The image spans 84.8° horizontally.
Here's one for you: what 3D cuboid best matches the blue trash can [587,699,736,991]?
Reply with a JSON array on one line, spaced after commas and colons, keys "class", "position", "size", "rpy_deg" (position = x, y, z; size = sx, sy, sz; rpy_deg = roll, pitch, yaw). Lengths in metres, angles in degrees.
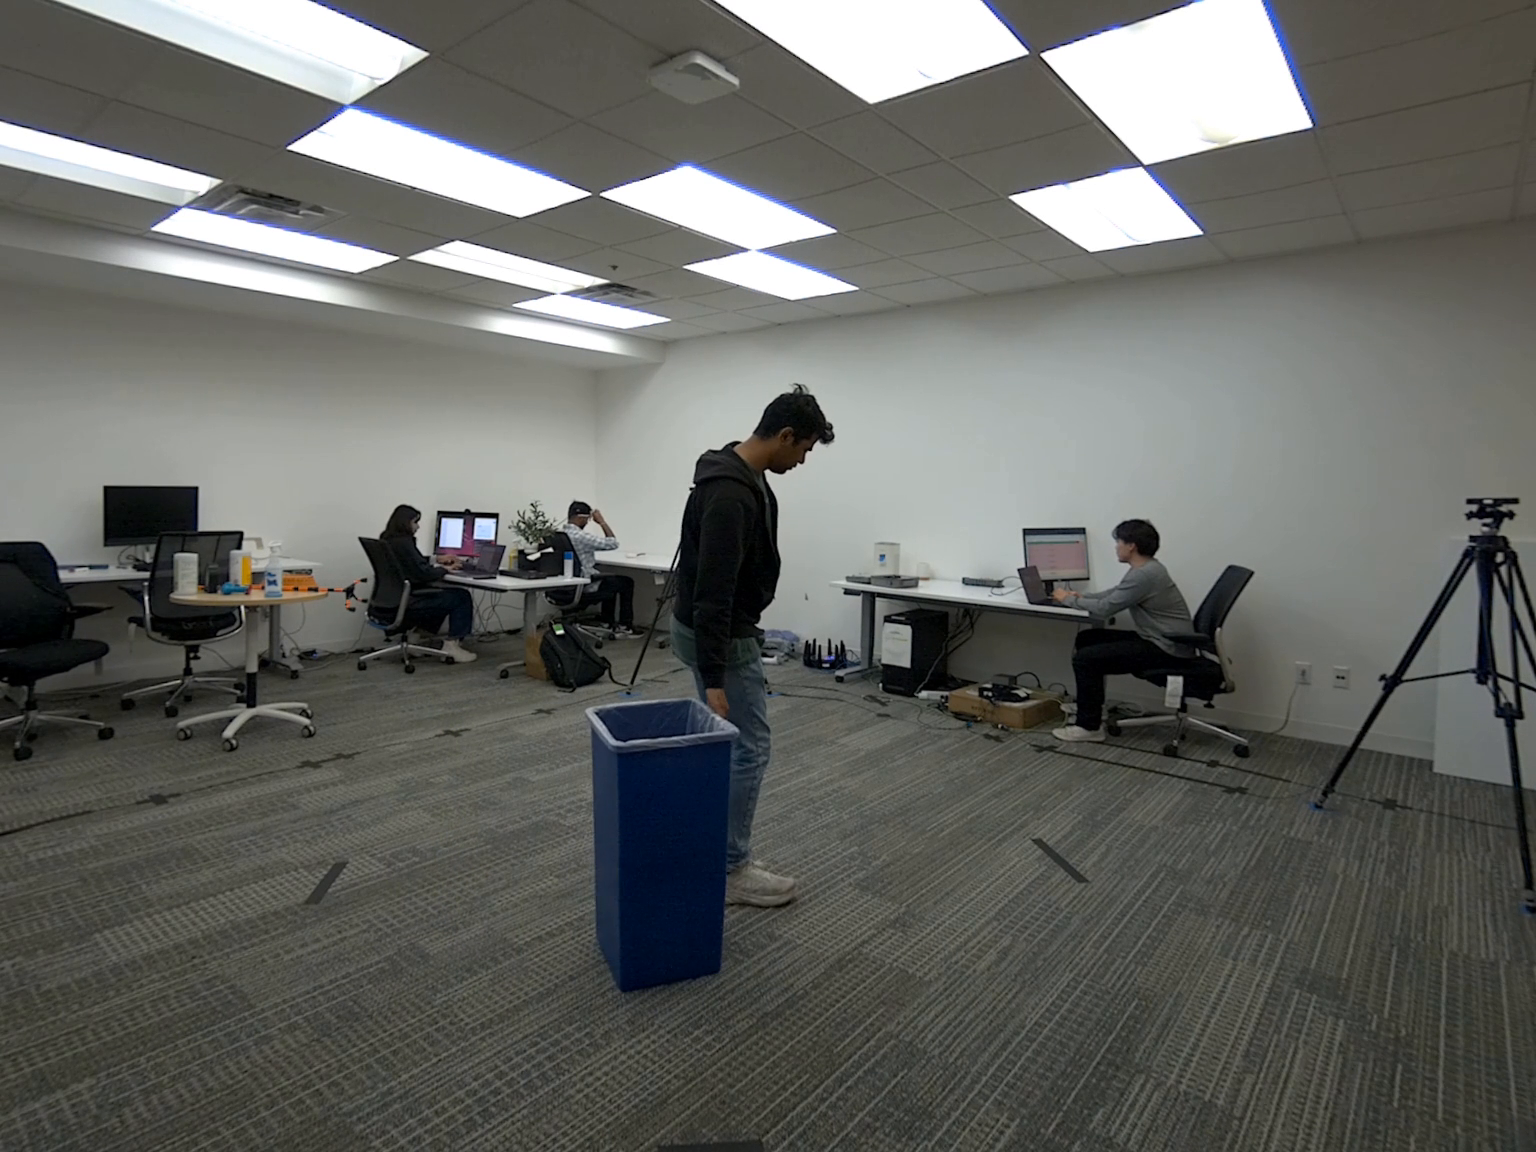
[{"class": "blue trash can", "position": [-0.344, 0.763, 2.496], "size": [0.370, 0.710, 0.384], "rpy_deg": [-1, 5, -24]}]
